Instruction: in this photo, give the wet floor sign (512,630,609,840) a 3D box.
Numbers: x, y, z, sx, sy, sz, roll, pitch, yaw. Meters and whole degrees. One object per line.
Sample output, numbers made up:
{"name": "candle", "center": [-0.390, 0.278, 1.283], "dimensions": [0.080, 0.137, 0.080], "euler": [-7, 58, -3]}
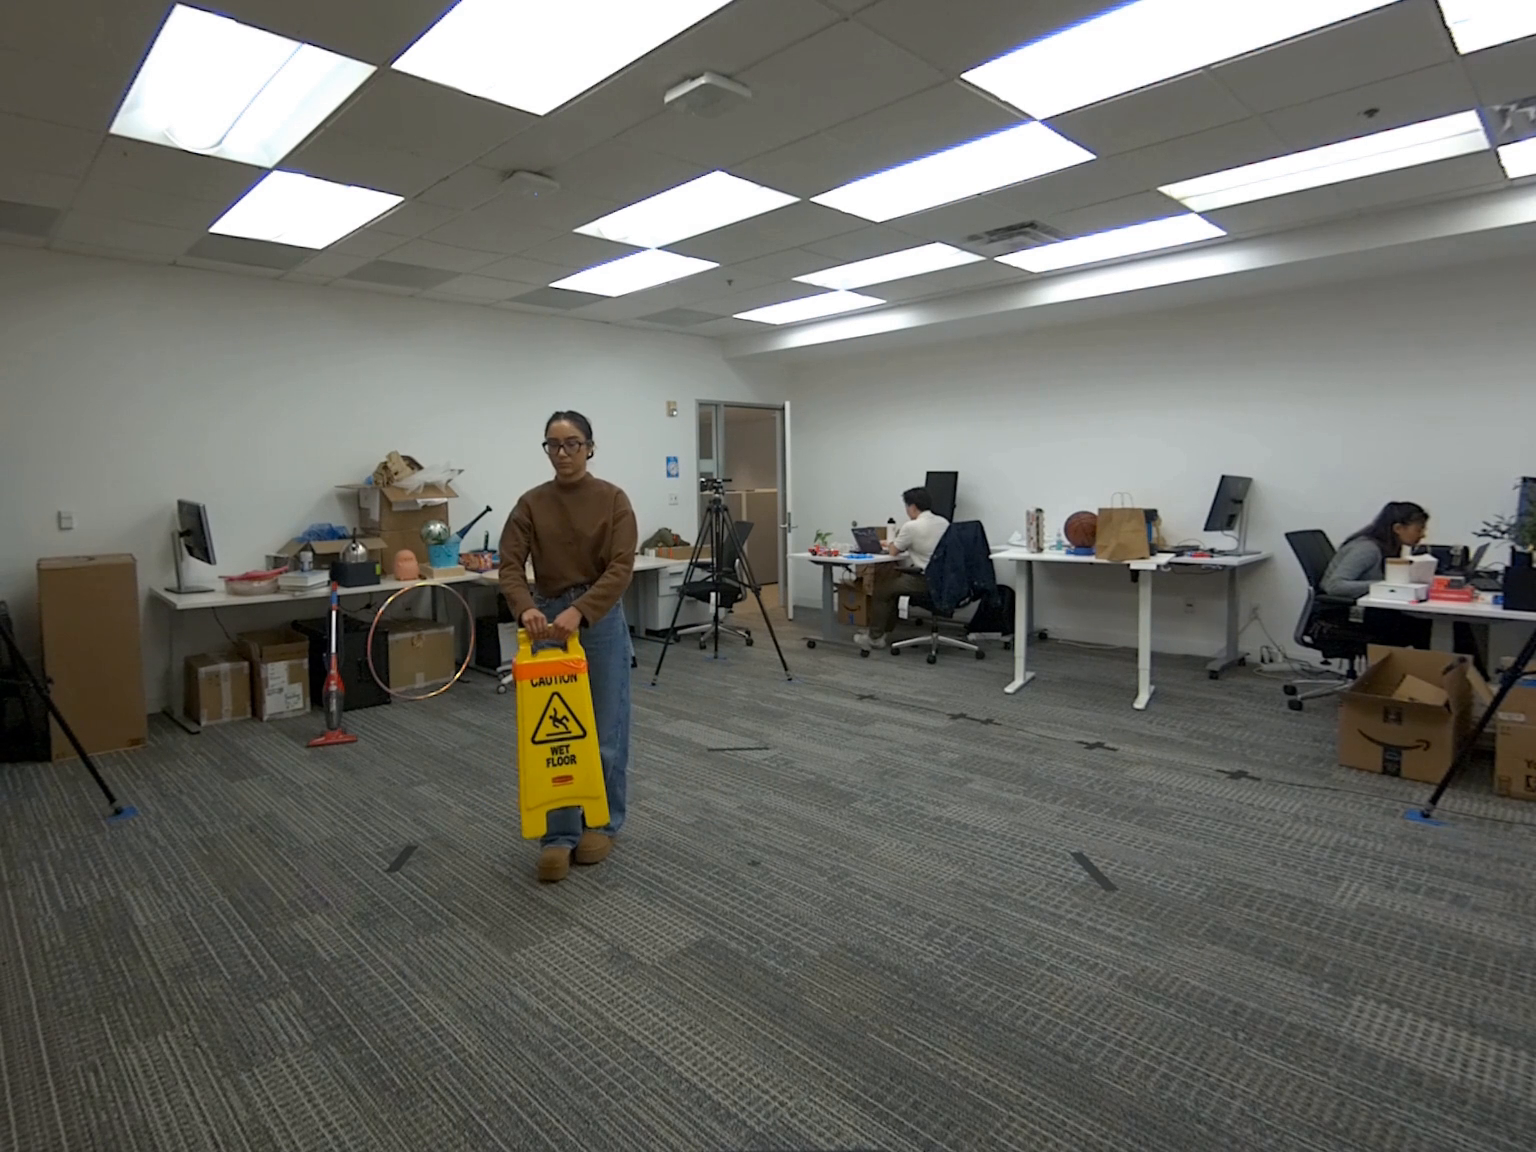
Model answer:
{"name": "wet floor sign", "center": [-0.713, 0.491, 2.843], "dimensions": [0.278, 0.644, 0.295], "euler": [-5, 4, -17]}
